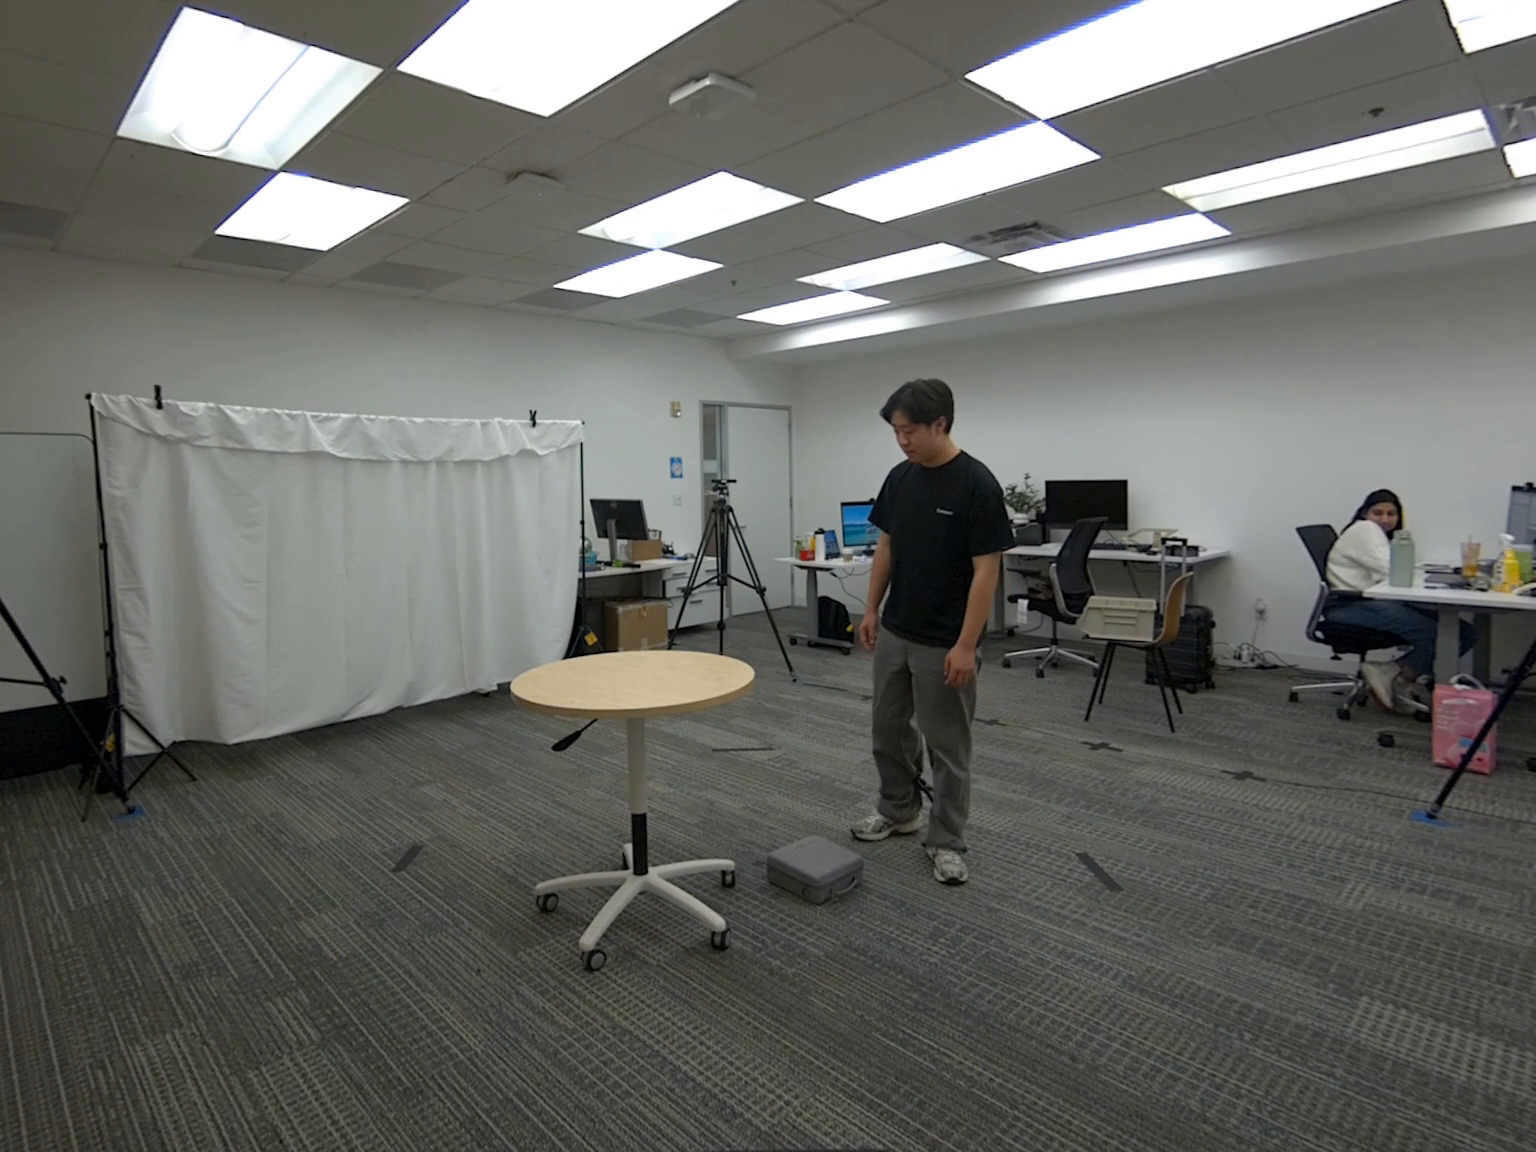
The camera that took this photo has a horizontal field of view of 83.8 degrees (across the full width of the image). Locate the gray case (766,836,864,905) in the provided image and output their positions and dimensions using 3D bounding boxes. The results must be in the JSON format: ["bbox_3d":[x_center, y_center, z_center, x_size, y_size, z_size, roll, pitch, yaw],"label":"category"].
[{"bbox_3d":[0.174,1.005,2.943,0.256,0.102,0.296,-7,9,-42],"label":"gray case"}]
